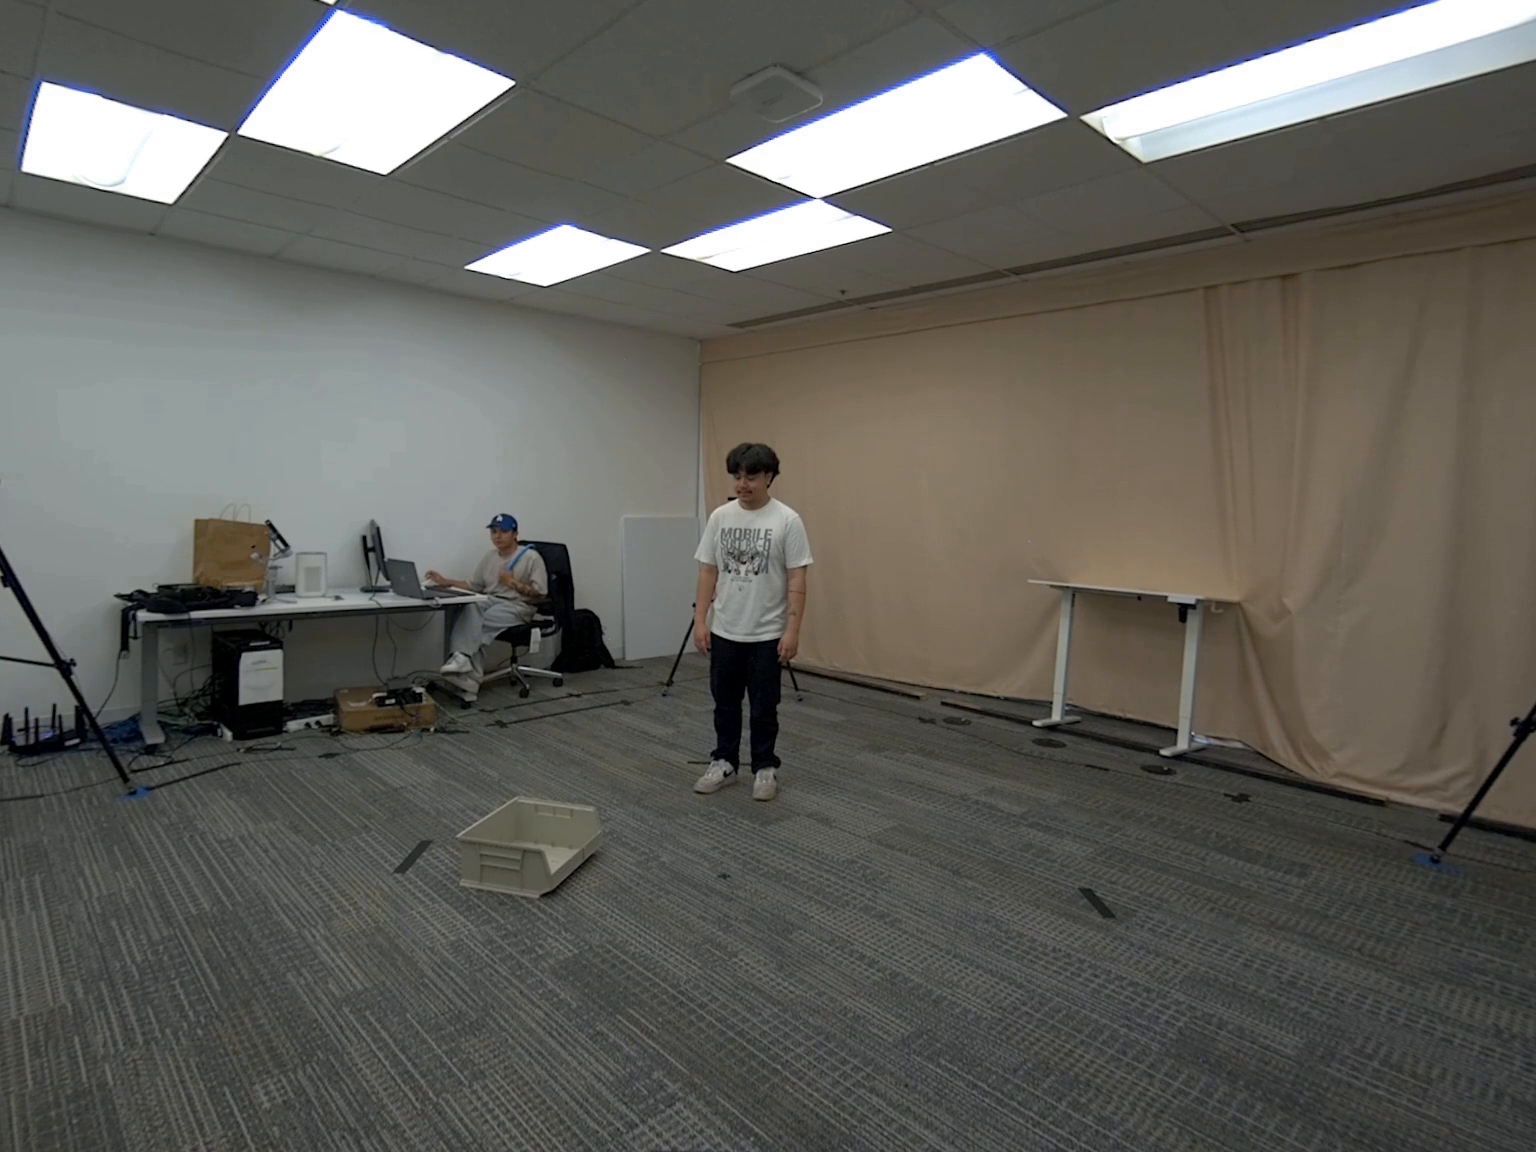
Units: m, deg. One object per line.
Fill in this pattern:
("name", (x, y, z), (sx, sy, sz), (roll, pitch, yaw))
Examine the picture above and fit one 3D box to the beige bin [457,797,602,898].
("beige bin", (-0.884, 1.003, 3.126), (0.382, 0.188, 0.419), (2, 5, 14))
